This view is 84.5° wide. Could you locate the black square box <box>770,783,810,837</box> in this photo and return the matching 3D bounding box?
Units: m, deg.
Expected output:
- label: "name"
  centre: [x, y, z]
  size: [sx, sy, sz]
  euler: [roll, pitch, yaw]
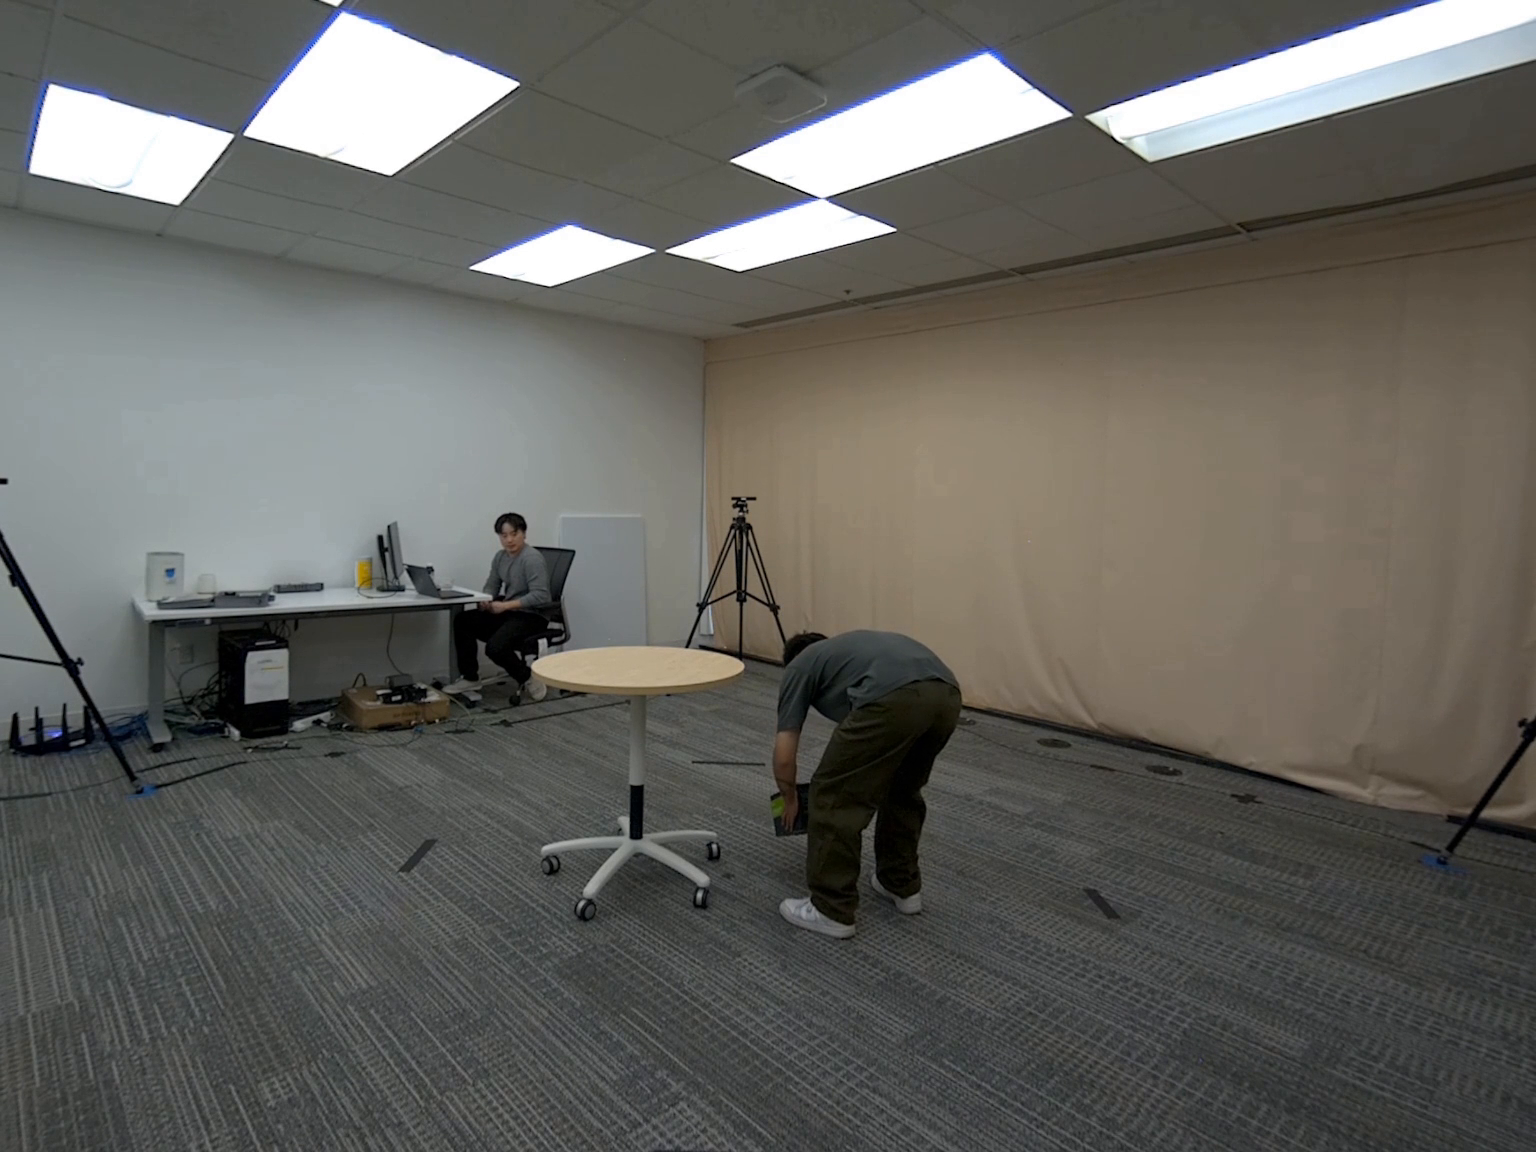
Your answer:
- label: "black square box"
  centre: [0.150, 0.891, 3.213]
  size: [0.213, 0.159, 0.227]
  euler: [2, -26, -24]
